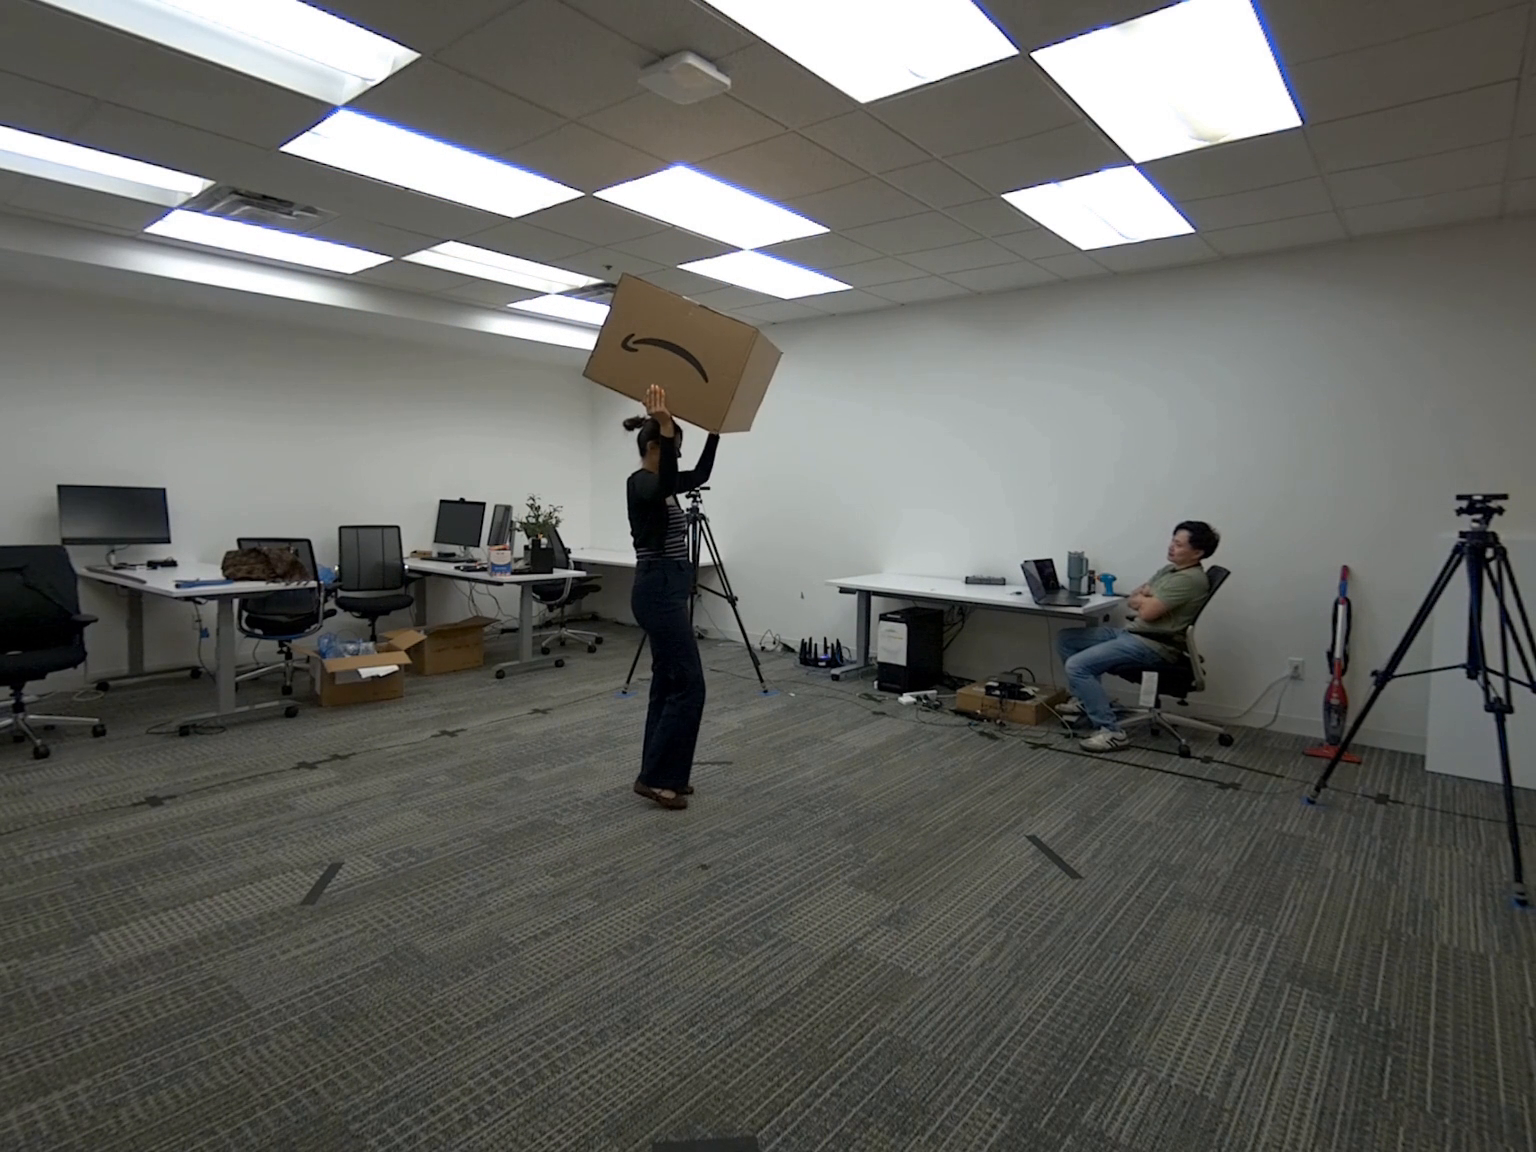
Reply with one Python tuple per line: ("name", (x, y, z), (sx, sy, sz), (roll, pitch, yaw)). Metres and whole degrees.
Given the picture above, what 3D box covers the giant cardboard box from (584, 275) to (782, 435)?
("giant cardboard box", (-0.335, -0.929, 3.714), (0.581, 0.424, 1.025), (23, 12, 3))
